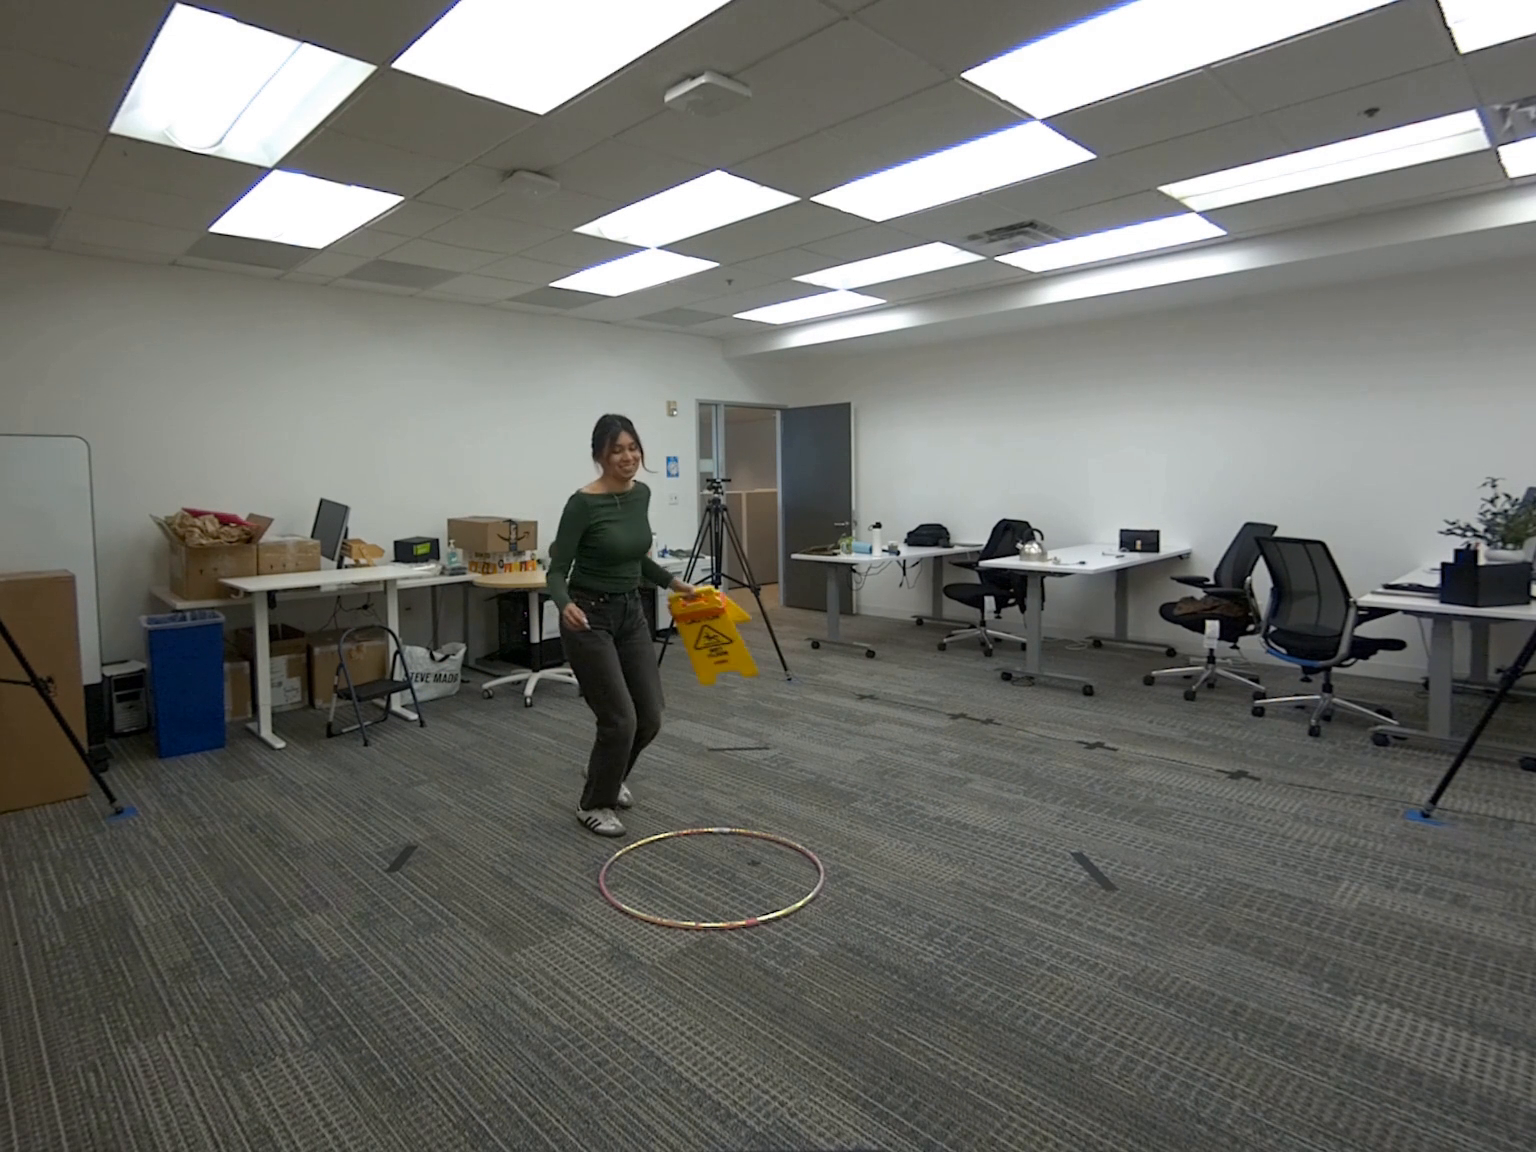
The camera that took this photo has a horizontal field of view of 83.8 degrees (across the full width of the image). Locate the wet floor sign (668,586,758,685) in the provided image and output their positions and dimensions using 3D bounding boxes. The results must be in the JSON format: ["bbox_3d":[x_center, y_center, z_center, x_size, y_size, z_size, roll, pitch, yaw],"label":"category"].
[{"bbox_3d":[-0.285,0.216,3.748,0.284,0.298,0.625,-11,-30,6],"label":"wet floor sign"}]
